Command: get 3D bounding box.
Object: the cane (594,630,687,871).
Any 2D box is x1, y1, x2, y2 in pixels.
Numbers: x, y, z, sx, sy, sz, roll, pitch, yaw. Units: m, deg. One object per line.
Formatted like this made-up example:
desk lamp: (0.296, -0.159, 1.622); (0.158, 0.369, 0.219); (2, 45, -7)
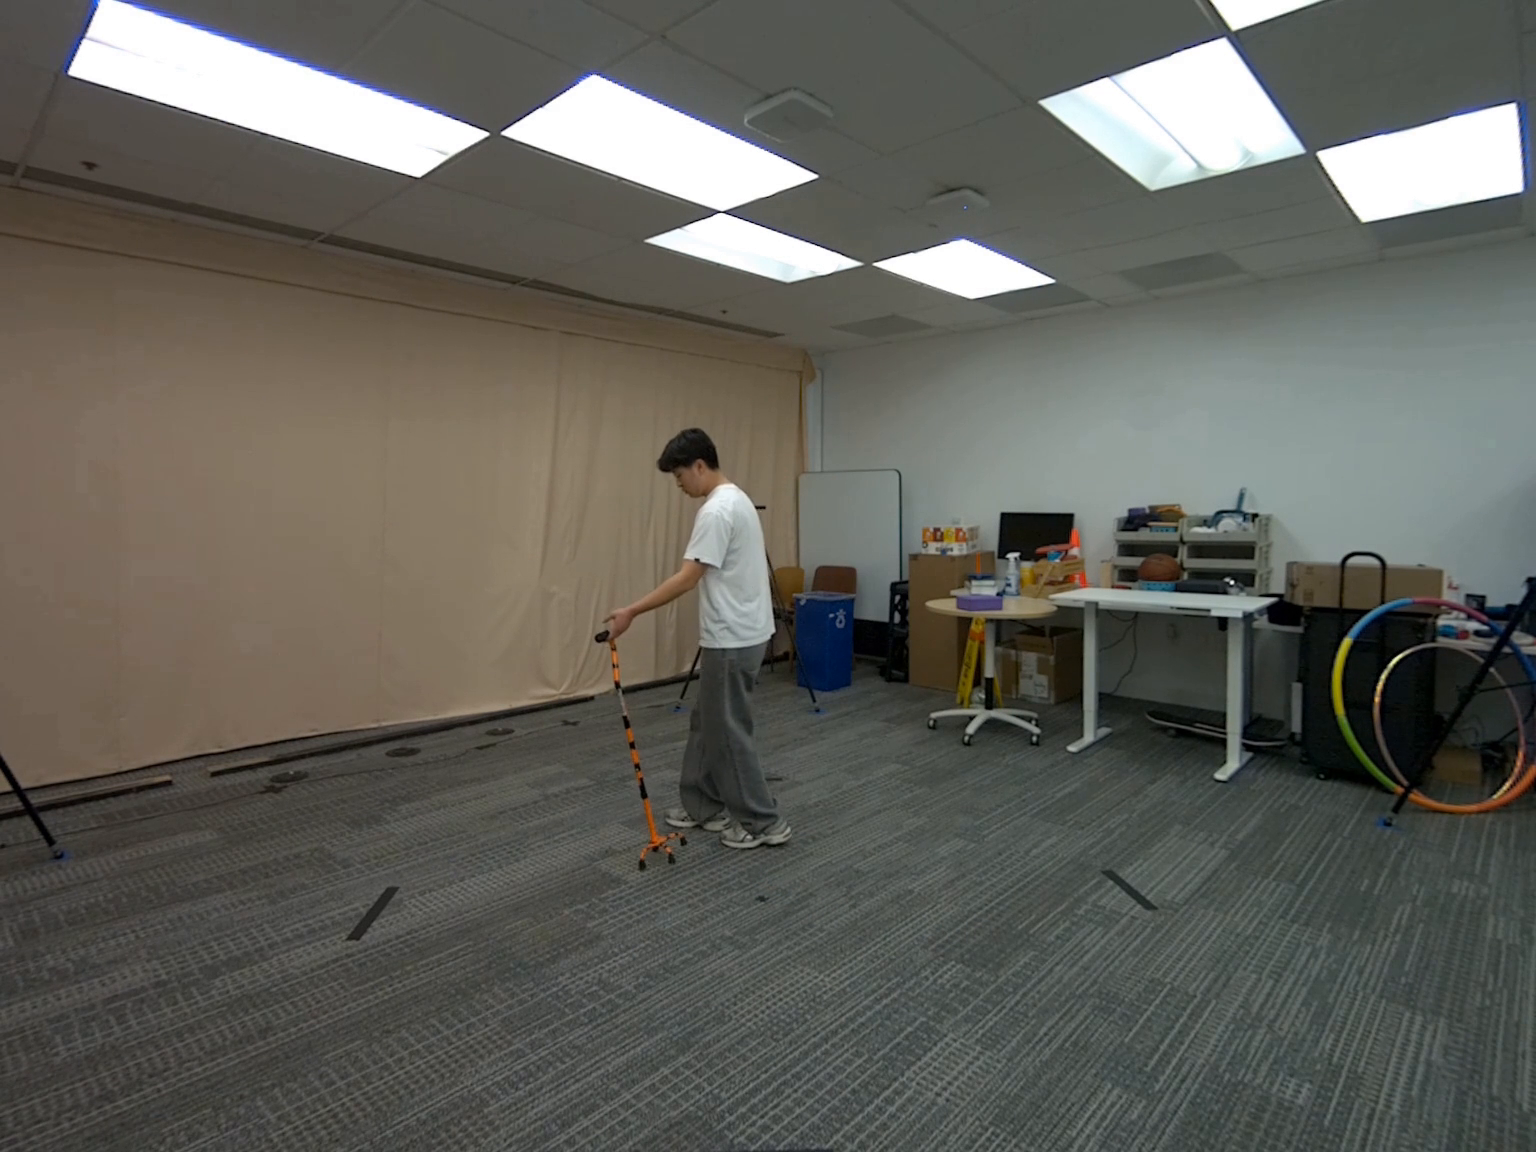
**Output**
cane: (-0.511, 0.665, 3.300); (0.153, 0.907, 0.204); (-12, 1, 9)
